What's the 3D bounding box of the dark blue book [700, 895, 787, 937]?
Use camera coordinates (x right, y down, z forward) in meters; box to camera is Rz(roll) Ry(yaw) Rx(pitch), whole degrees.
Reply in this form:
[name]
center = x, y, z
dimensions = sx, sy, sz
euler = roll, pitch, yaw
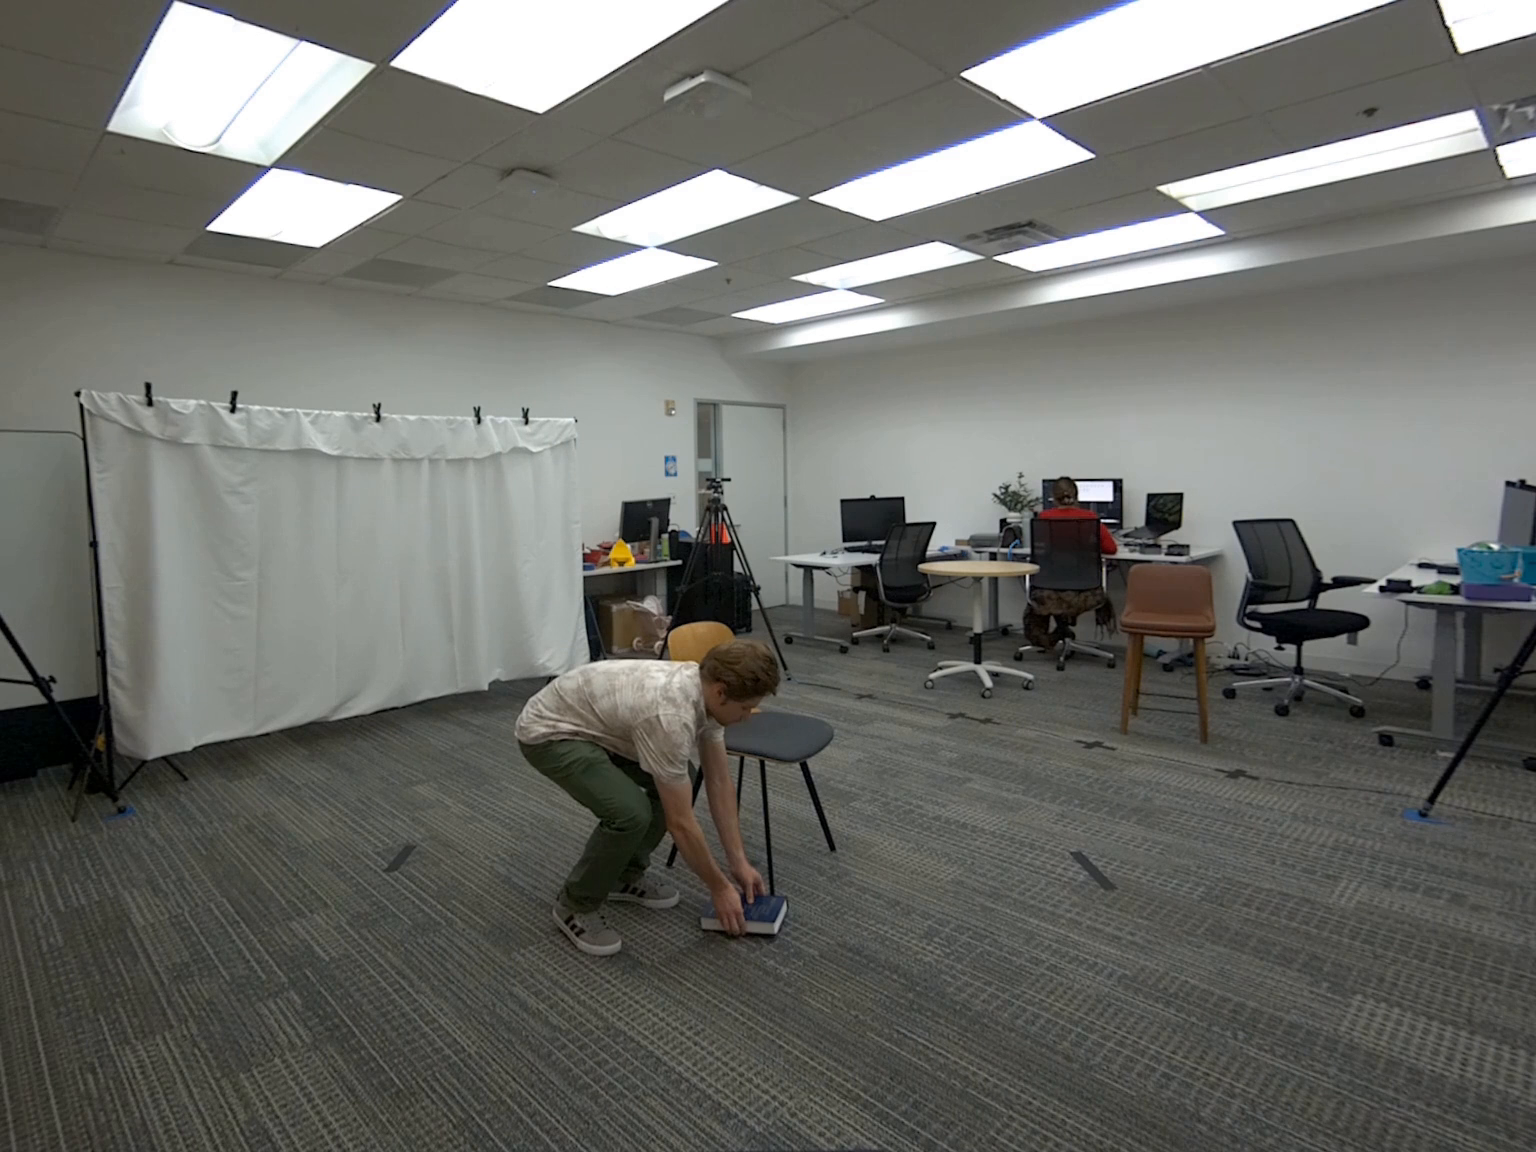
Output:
[dark blue book]
center = -0.077, 1.060, 2.677
dimensions = 0.249, 0.045, 0.162
euler = -1, 7, 16
